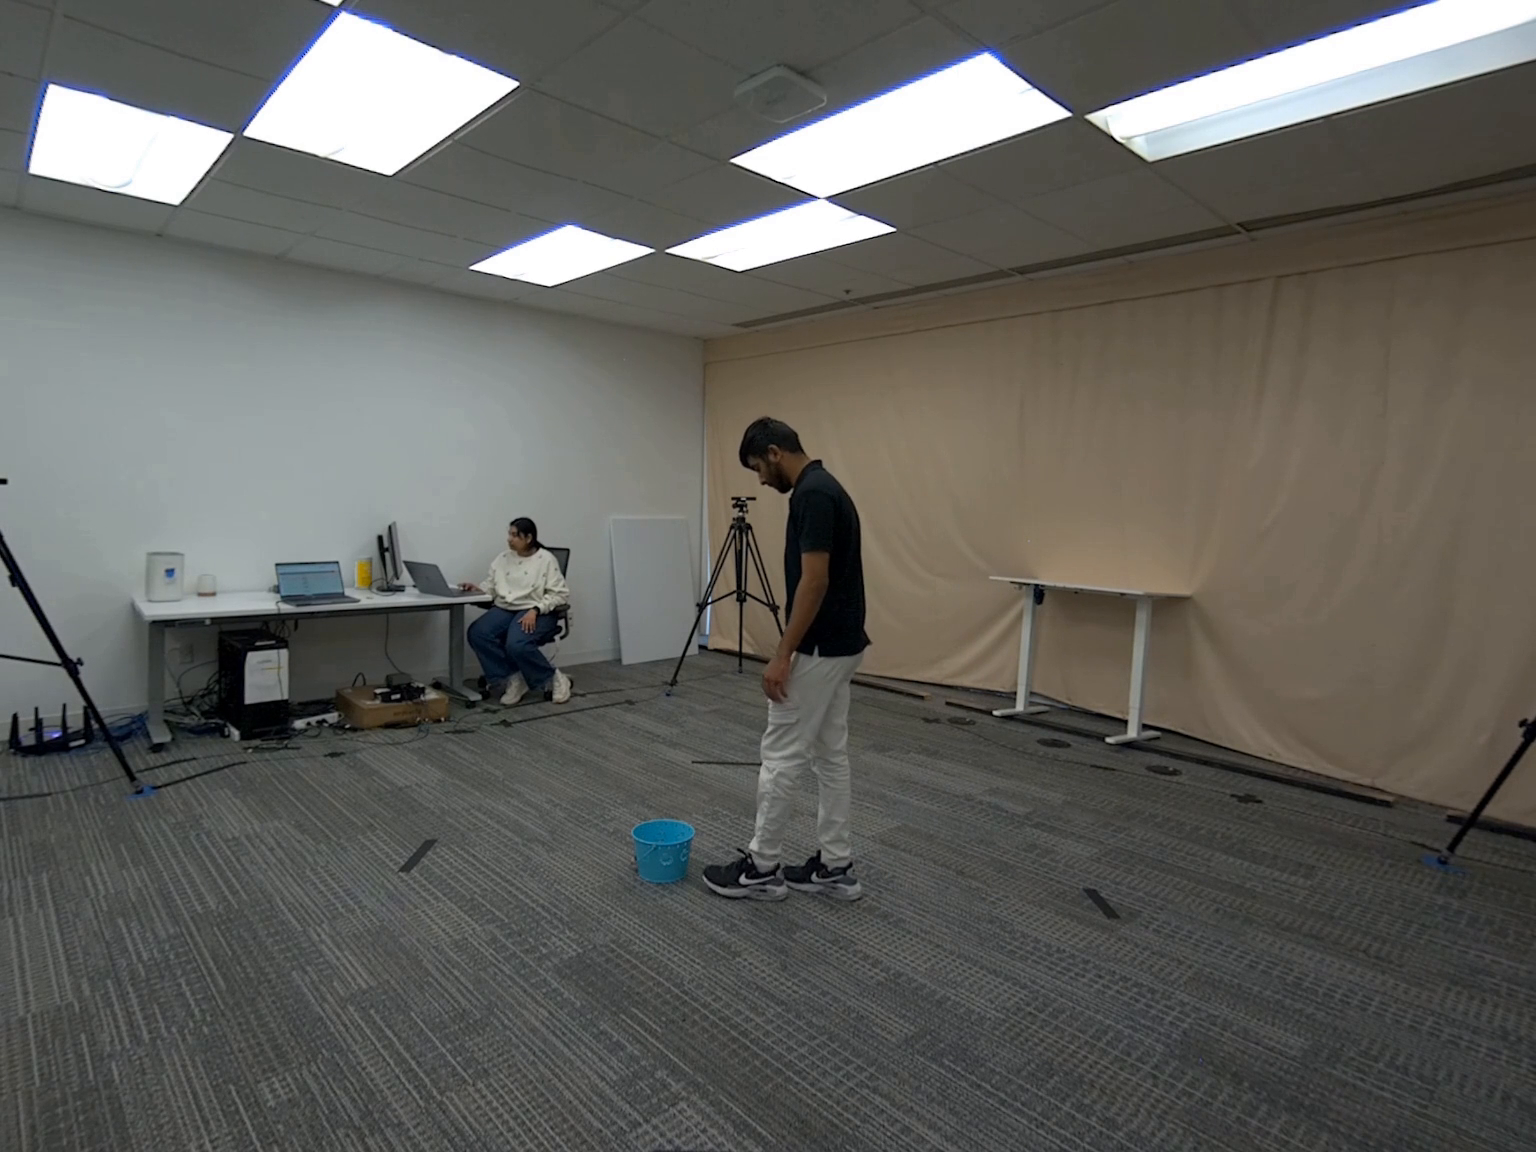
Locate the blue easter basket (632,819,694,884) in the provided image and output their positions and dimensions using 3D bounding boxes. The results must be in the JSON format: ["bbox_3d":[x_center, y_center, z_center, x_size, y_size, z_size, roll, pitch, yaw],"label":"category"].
[{"bbox_3d":[-0.398,1.021,3.128,0.243,0.155,0.244,1,5,-1],"label":"blue easter basket"}]
